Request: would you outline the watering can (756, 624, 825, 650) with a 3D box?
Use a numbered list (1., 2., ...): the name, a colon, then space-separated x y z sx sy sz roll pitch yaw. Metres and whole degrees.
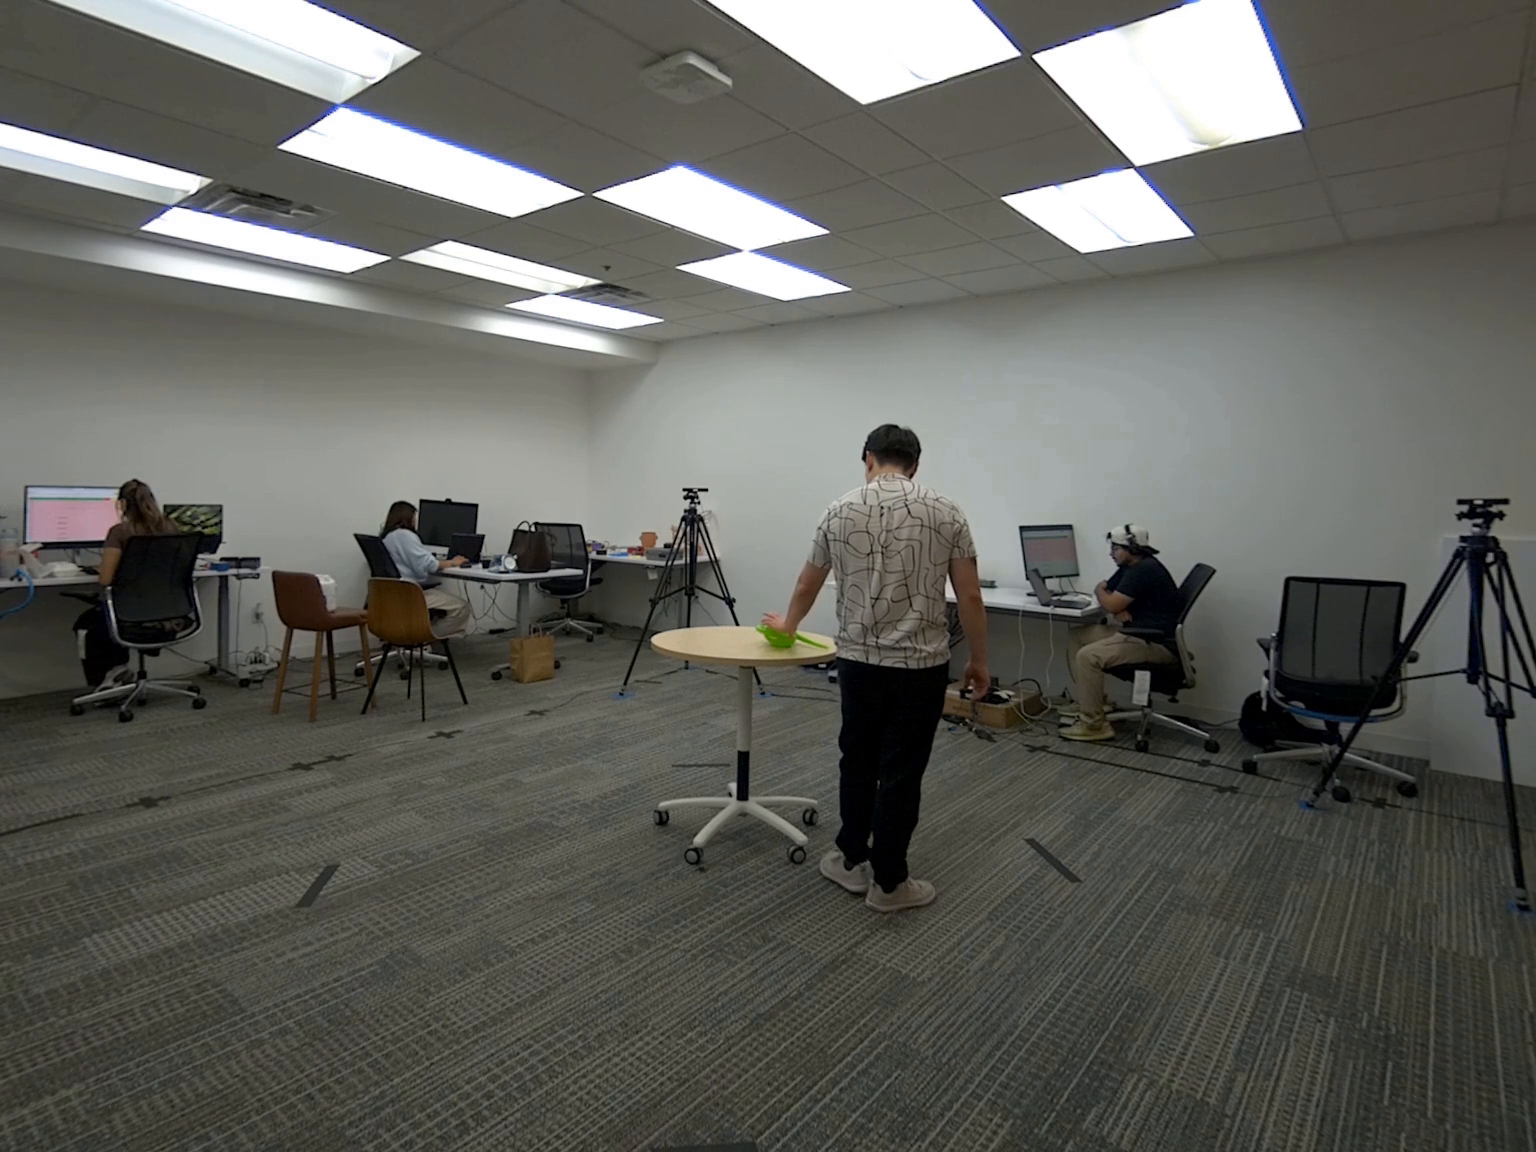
1. watering can: 0.074 0.240 3.342 0.277 0.098 0.178 24 3 -5
